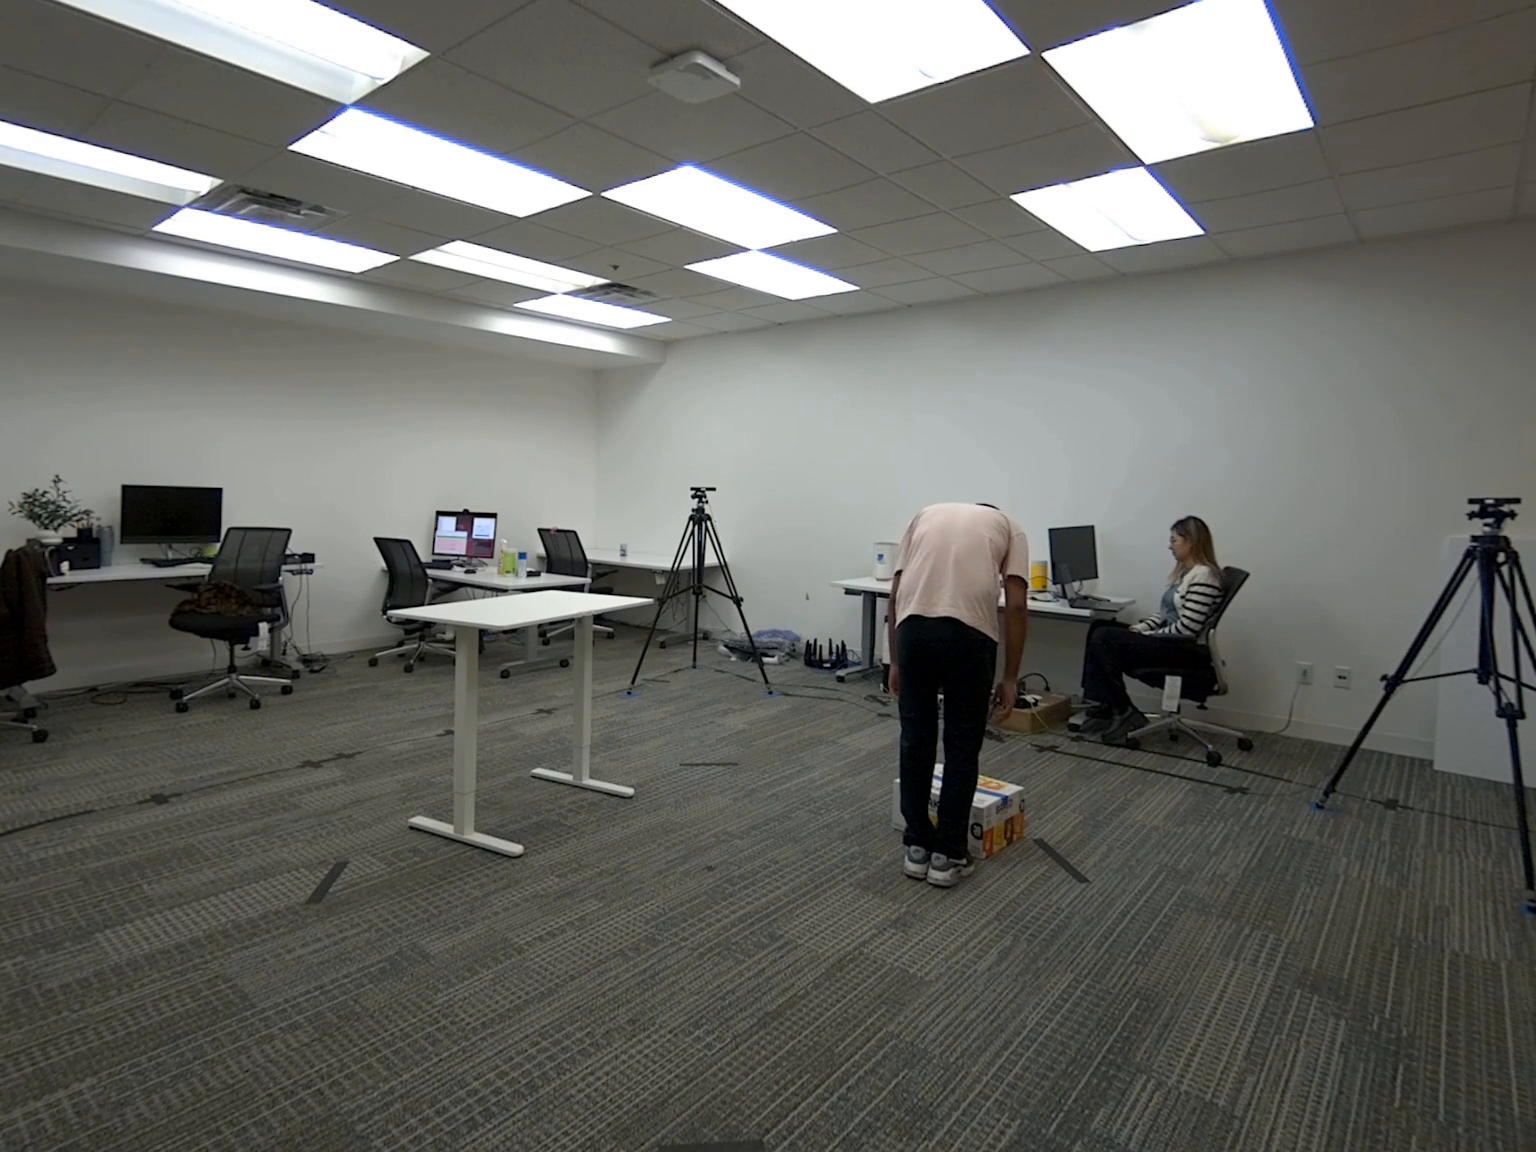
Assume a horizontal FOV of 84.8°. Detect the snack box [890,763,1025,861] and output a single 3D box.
[{"bbox_3d":[0.776,0.950,3.489,0.419,0.205,0.330,6,7,44],"label":"snack box"}]
